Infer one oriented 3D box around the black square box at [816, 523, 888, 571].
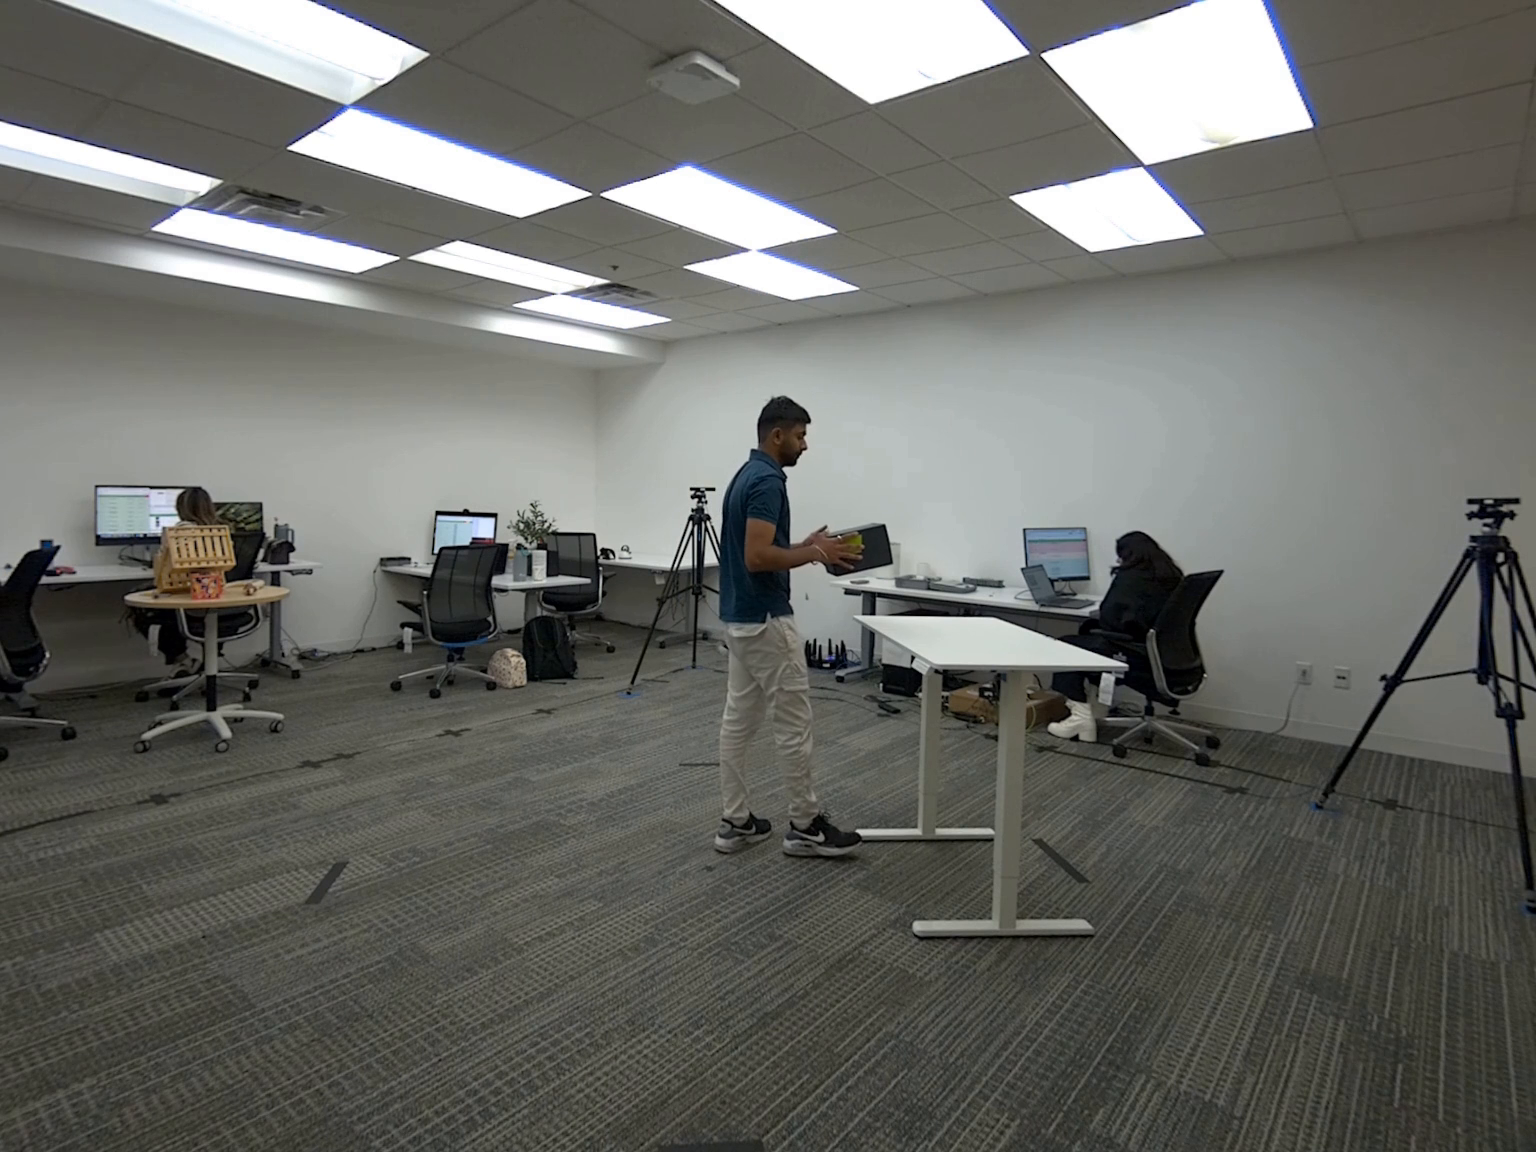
[{"bbox_3d":[0.324,-0.118,3.294,0.227,0.155,0.218,-5,4,-3],"label":"black square box"}]
